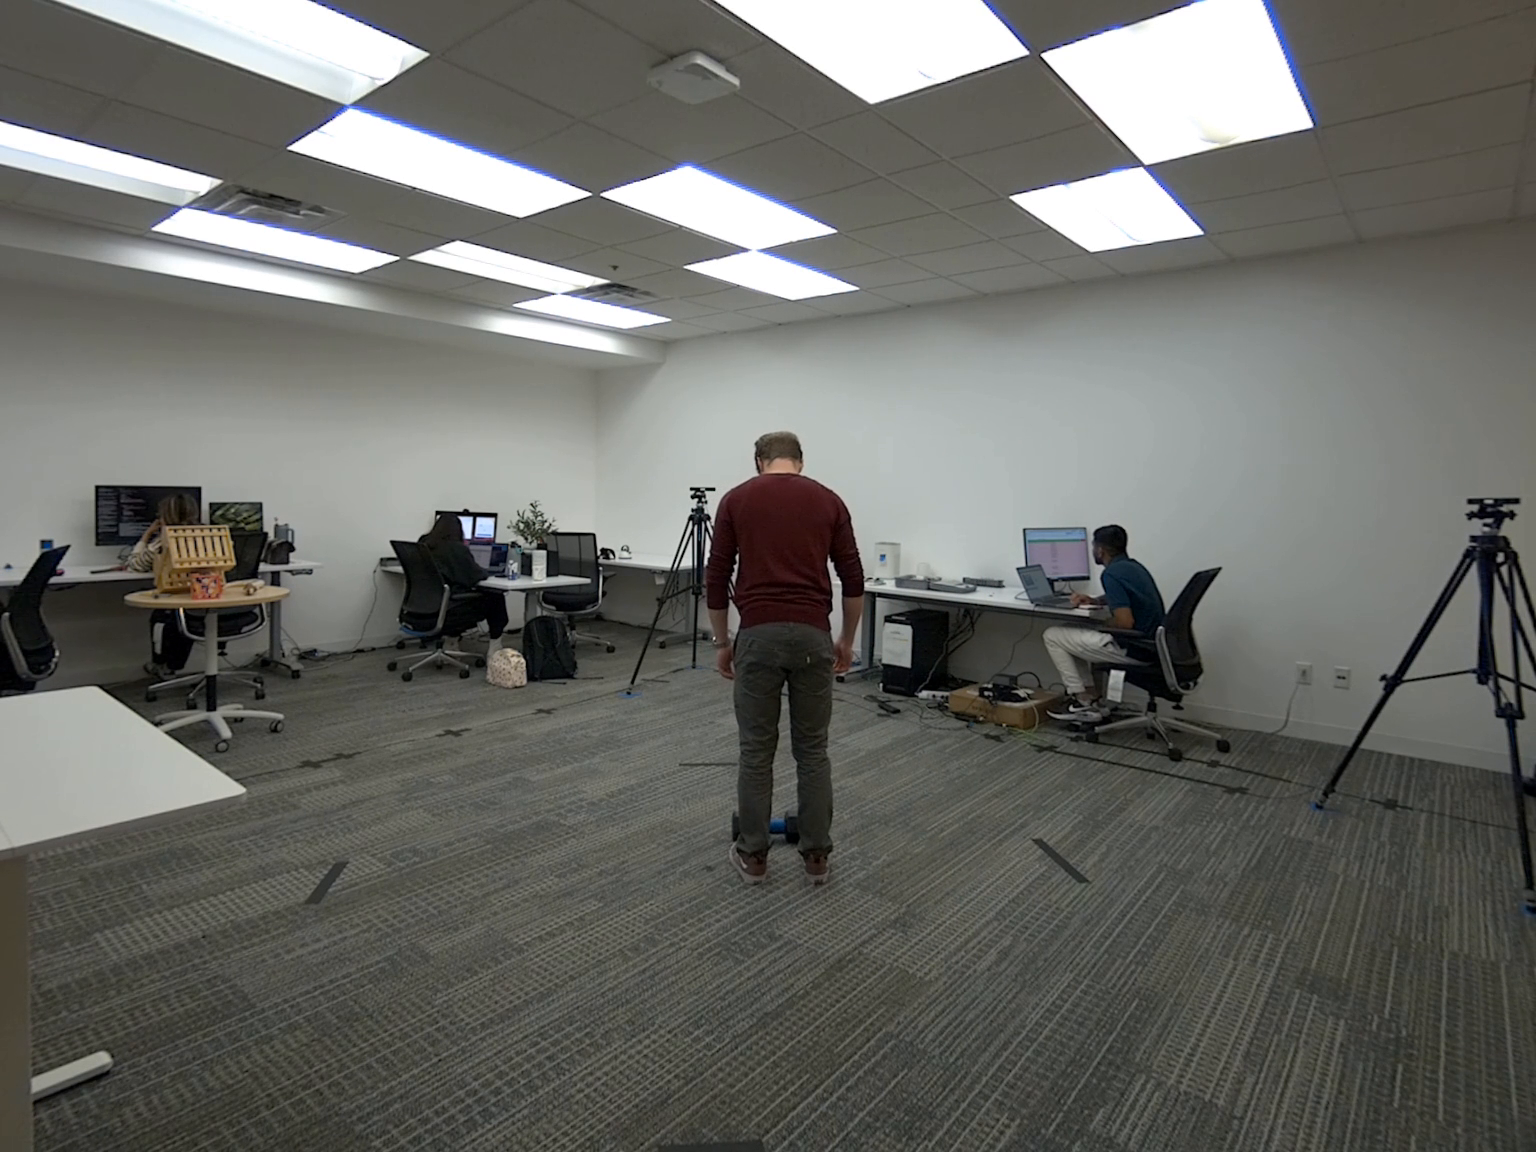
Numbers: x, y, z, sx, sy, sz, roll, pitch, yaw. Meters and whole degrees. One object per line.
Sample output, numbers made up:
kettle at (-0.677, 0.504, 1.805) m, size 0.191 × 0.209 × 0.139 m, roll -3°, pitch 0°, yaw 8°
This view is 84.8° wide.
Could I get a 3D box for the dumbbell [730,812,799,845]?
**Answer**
dumbbell at (0.001, 0.994, 3.373) m, size 0.292 × 0.120 × 0.111 m, roll 2°, pitch 30°, yaw -3°
